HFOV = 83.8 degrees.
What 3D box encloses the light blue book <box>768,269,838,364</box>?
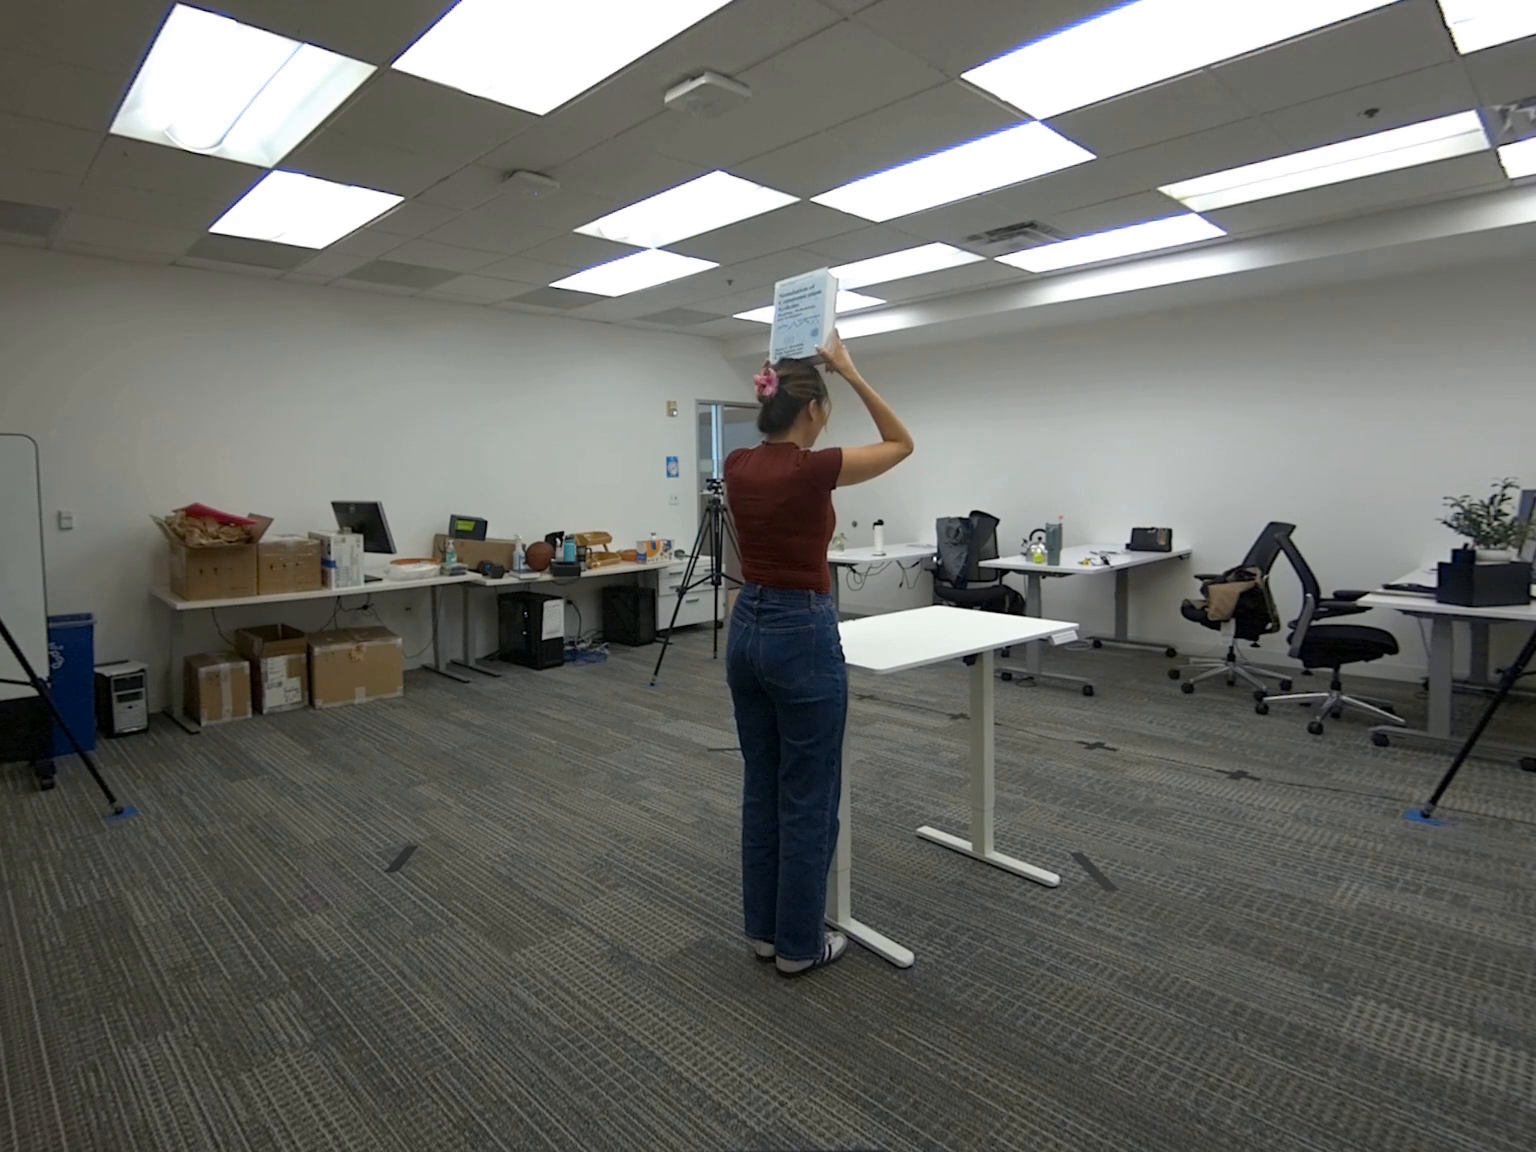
[{"bbox_3d":[0.108,-0.732,2.444,0.196,0.263,0.057,-3,-14,37],"label":"light blue book"}]
